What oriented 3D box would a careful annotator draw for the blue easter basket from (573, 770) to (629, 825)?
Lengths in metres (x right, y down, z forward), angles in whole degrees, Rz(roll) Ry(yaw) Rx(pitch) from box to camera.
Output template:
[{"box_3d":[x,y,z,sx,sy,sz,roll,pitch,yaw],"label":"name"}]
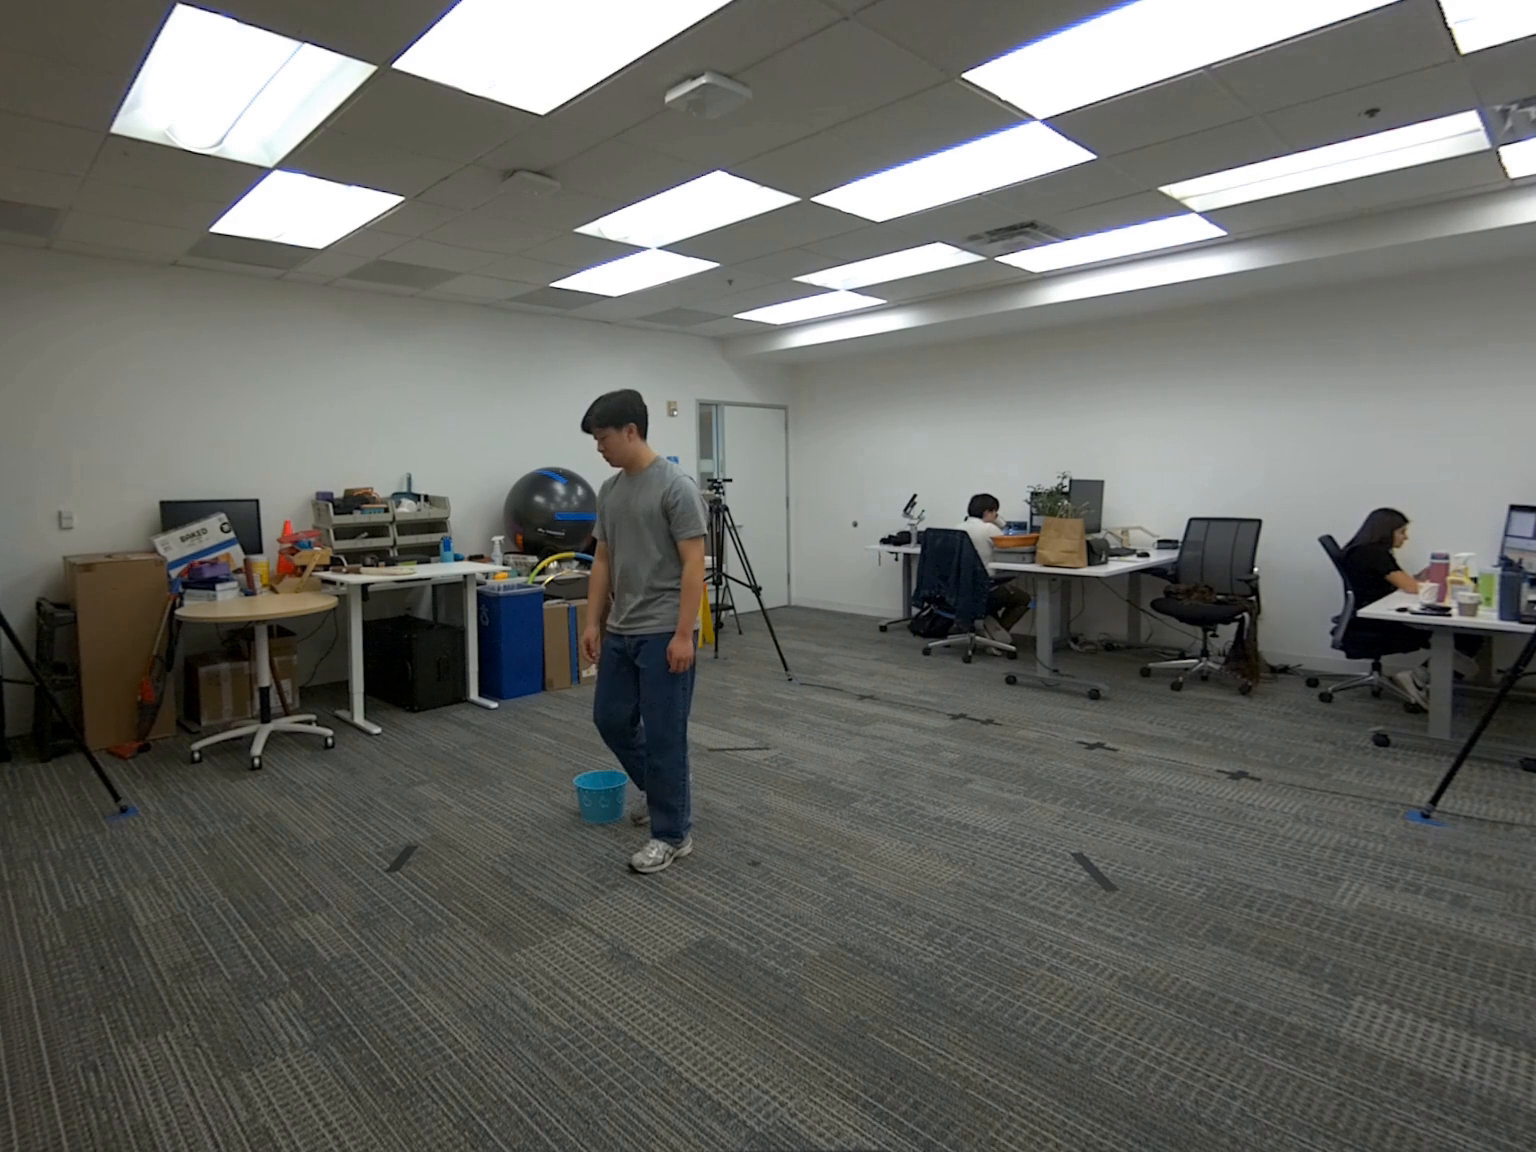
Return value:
[{"box_3d":[-0.695,0.924,3.593,0.243,0.155,0.245,-1,6,-2],"label":"blue easter basket"}]
